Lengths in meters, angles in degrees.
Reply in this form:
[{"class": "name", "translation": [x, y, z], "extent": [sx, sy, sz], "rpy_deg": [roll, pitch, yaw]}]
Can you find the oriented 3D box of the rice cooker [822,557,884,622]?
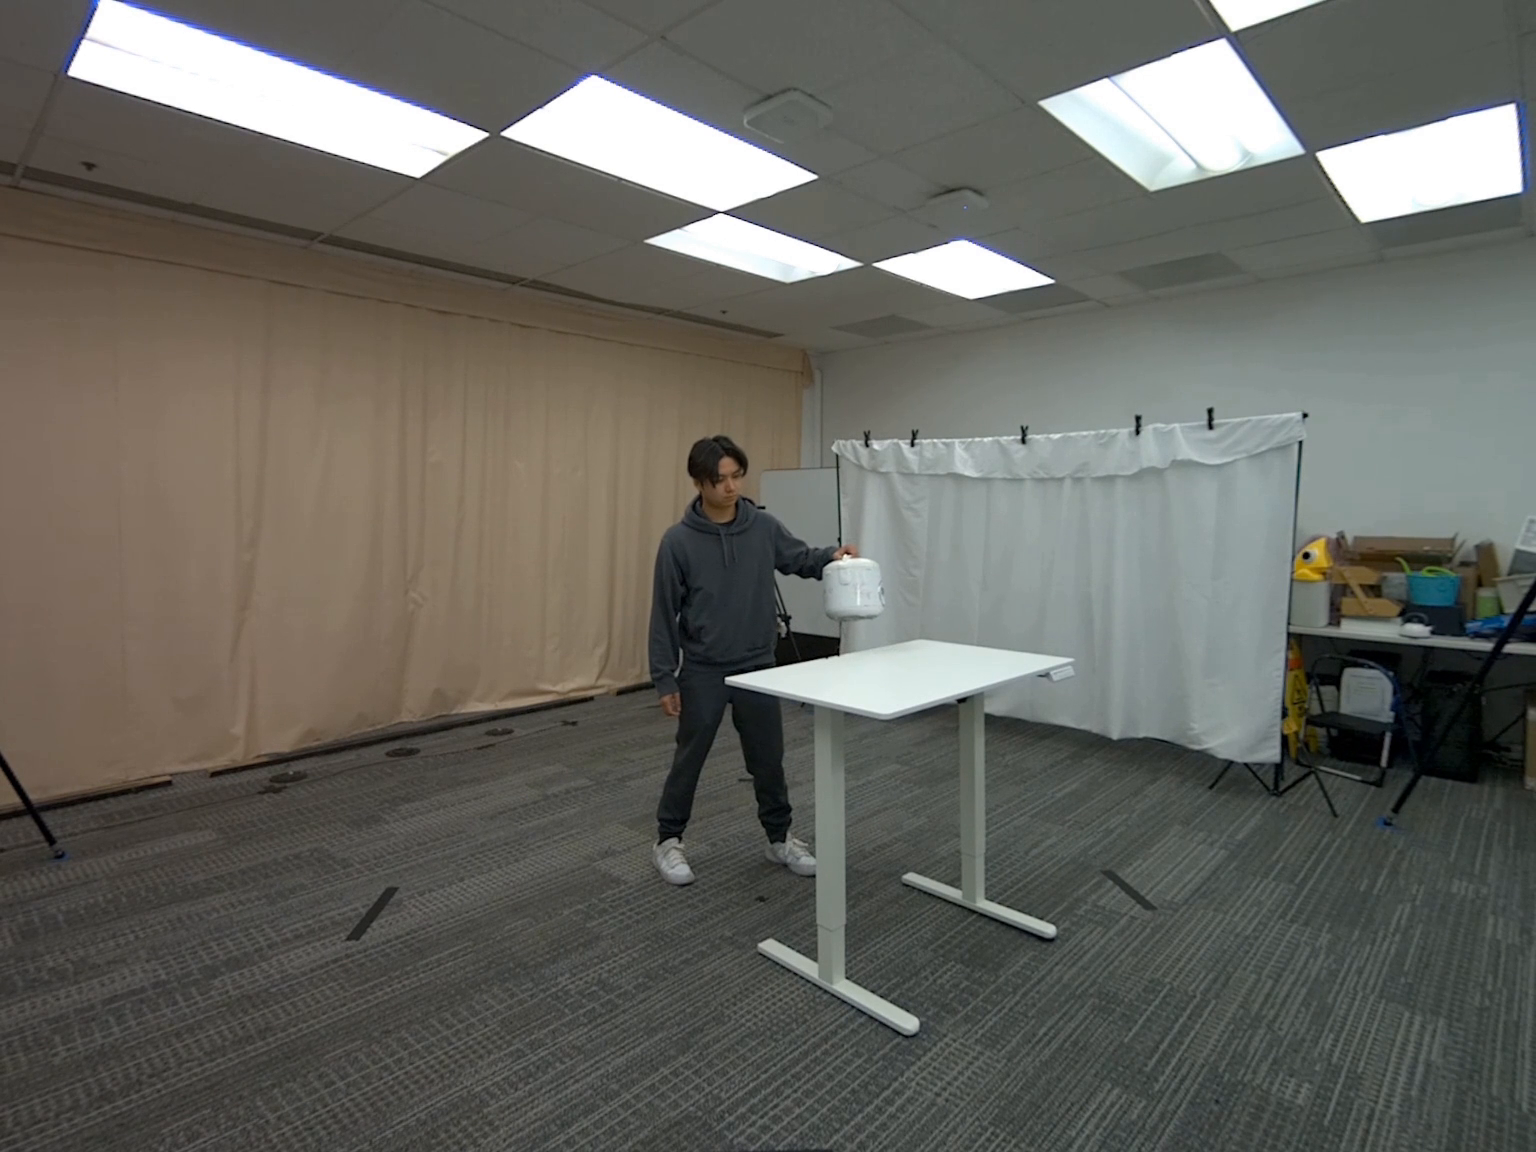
[{"class": "rice cooker", "translation": [0.316, 0.044, 3.068], "extent": [0.222, 0.234, 0.214], "rpy_deg": [-8, -11, 22]}]
